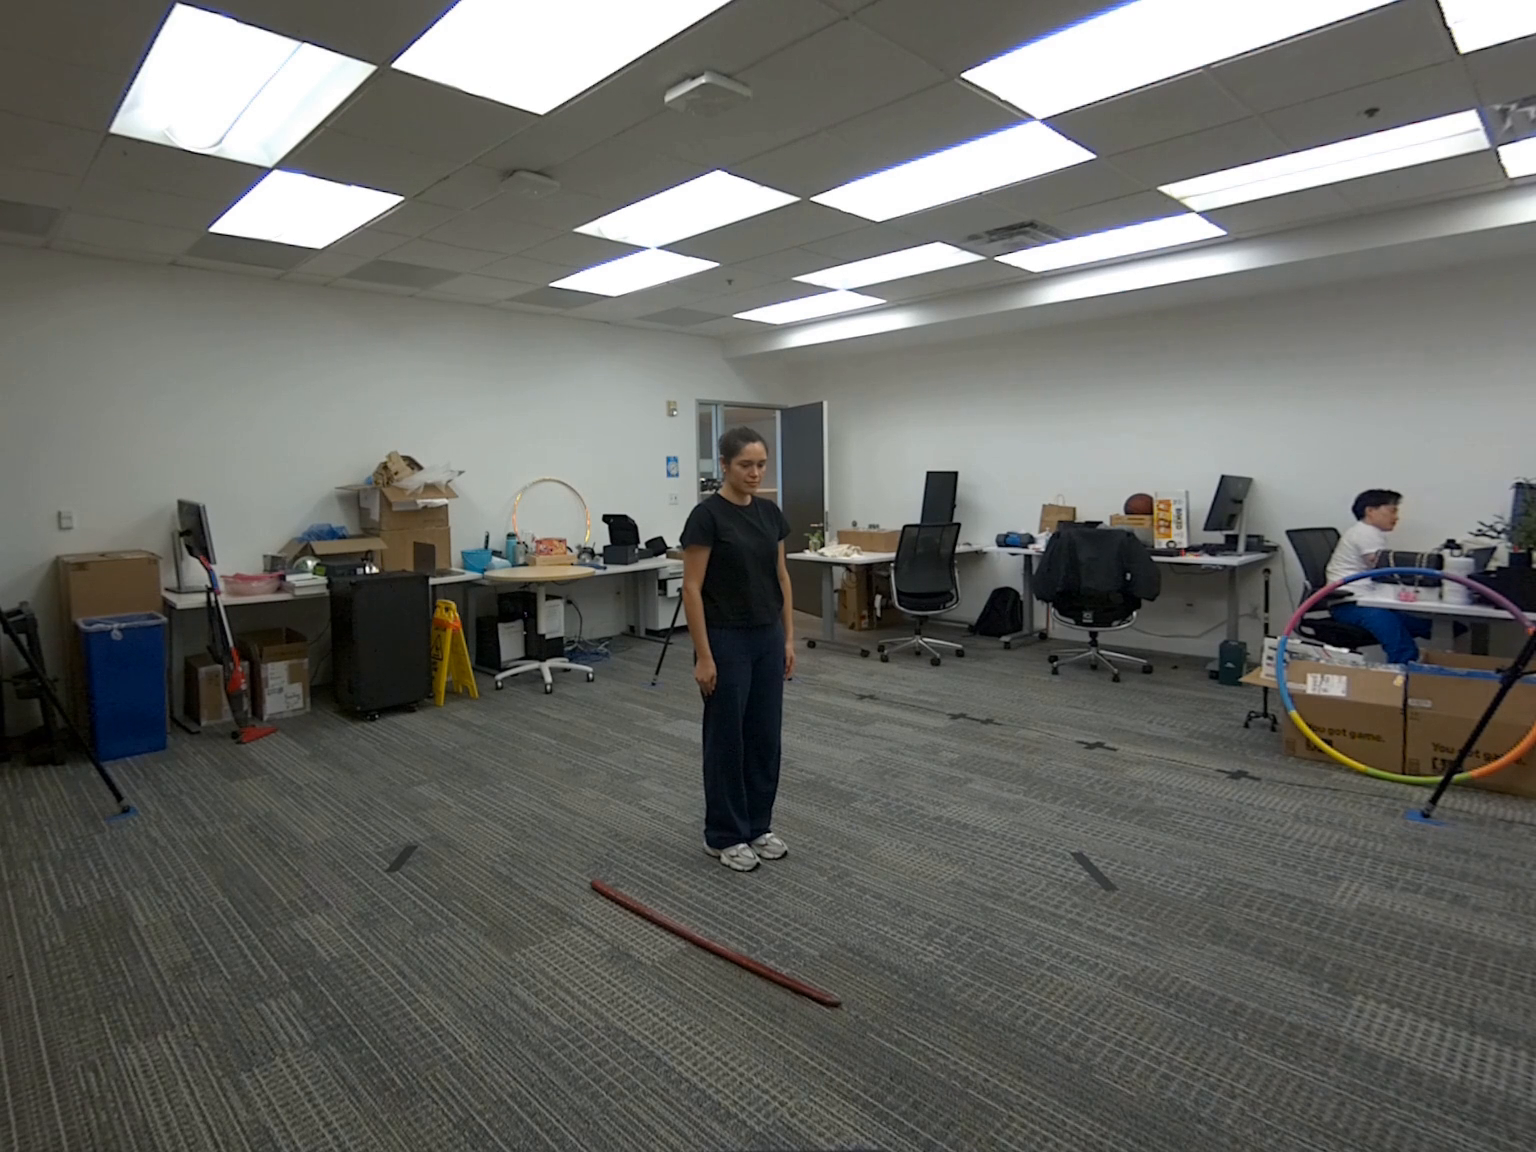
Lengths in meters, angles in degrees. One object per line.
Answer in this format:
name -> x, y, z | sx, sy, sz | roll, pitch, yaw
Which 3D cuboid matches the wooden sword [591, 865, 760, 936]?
wooden sword -> -0.209, 1.084, 2.619 | 1.056, 0.024, 0.050 | 4, 21, 40
